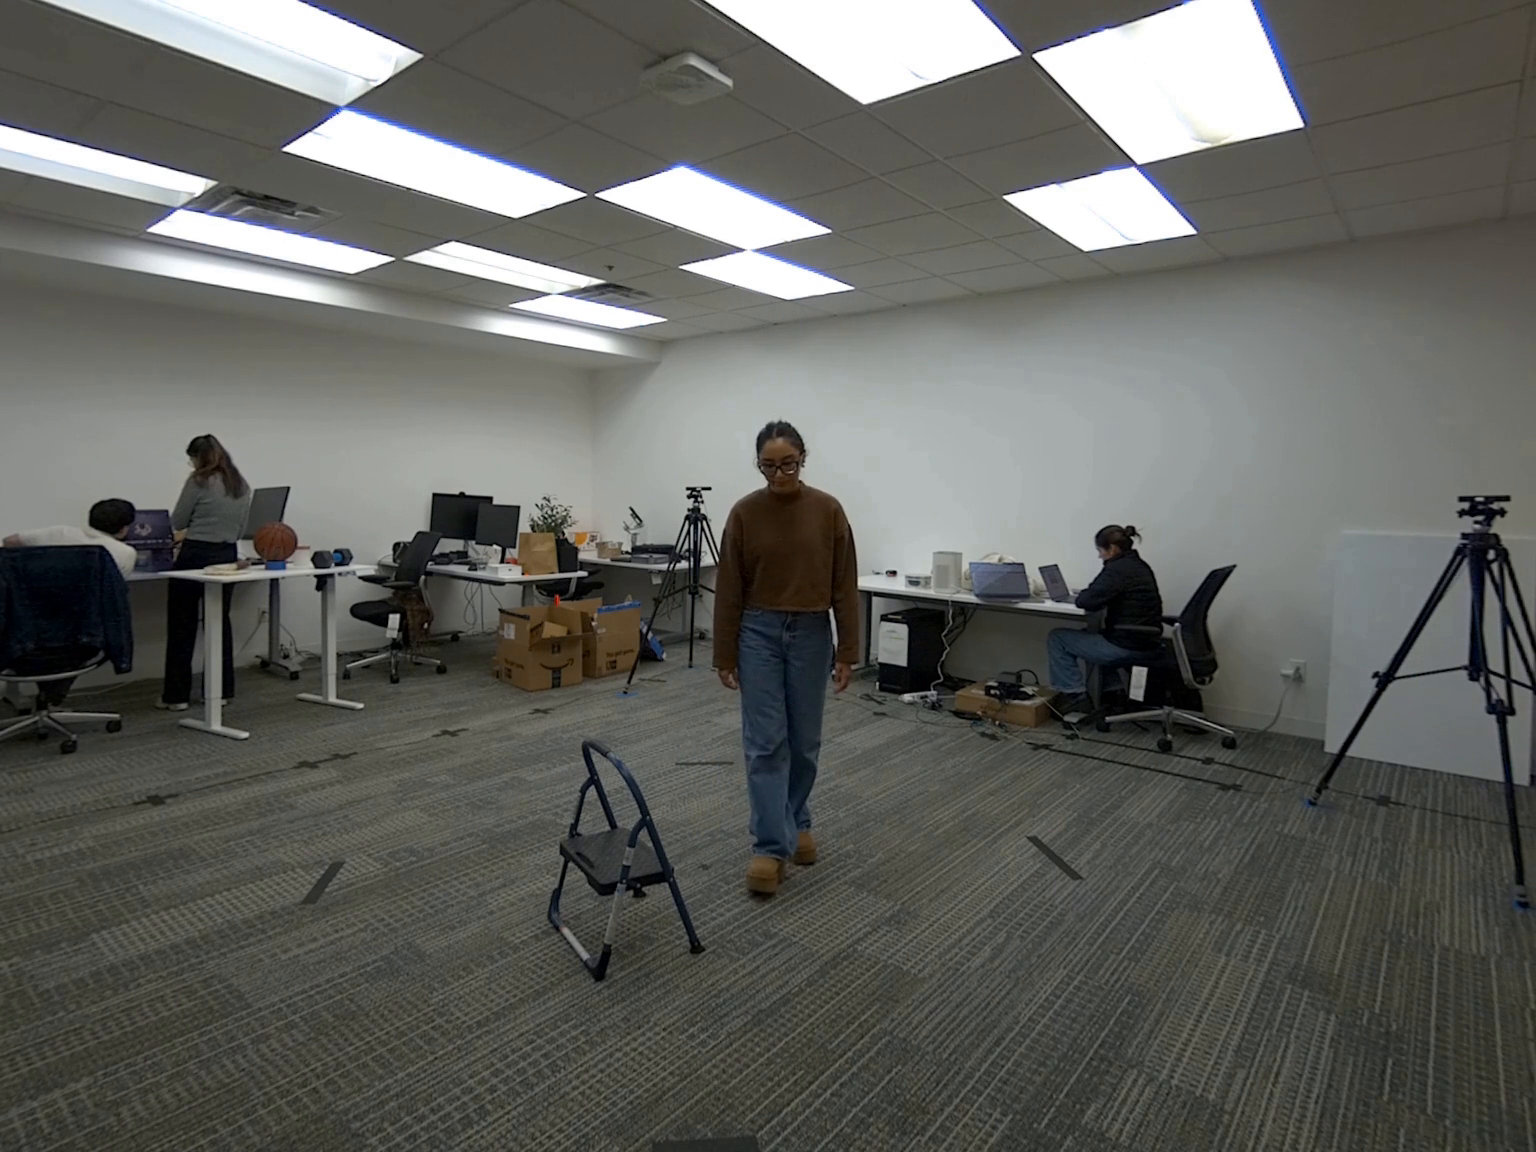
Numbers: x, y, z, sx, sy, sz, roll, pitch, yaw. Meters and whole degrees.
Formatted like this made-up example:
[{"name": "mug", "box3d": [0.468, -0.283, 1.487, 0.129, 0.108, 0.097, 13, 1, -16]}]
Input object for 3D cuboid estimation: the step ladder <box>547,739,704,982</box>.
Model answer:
[{"name": "step ladder", "box3d": [-0.459, 0.806, 2.622, 0.339, 0.604, 0.444, -1, 4, -34]}]
